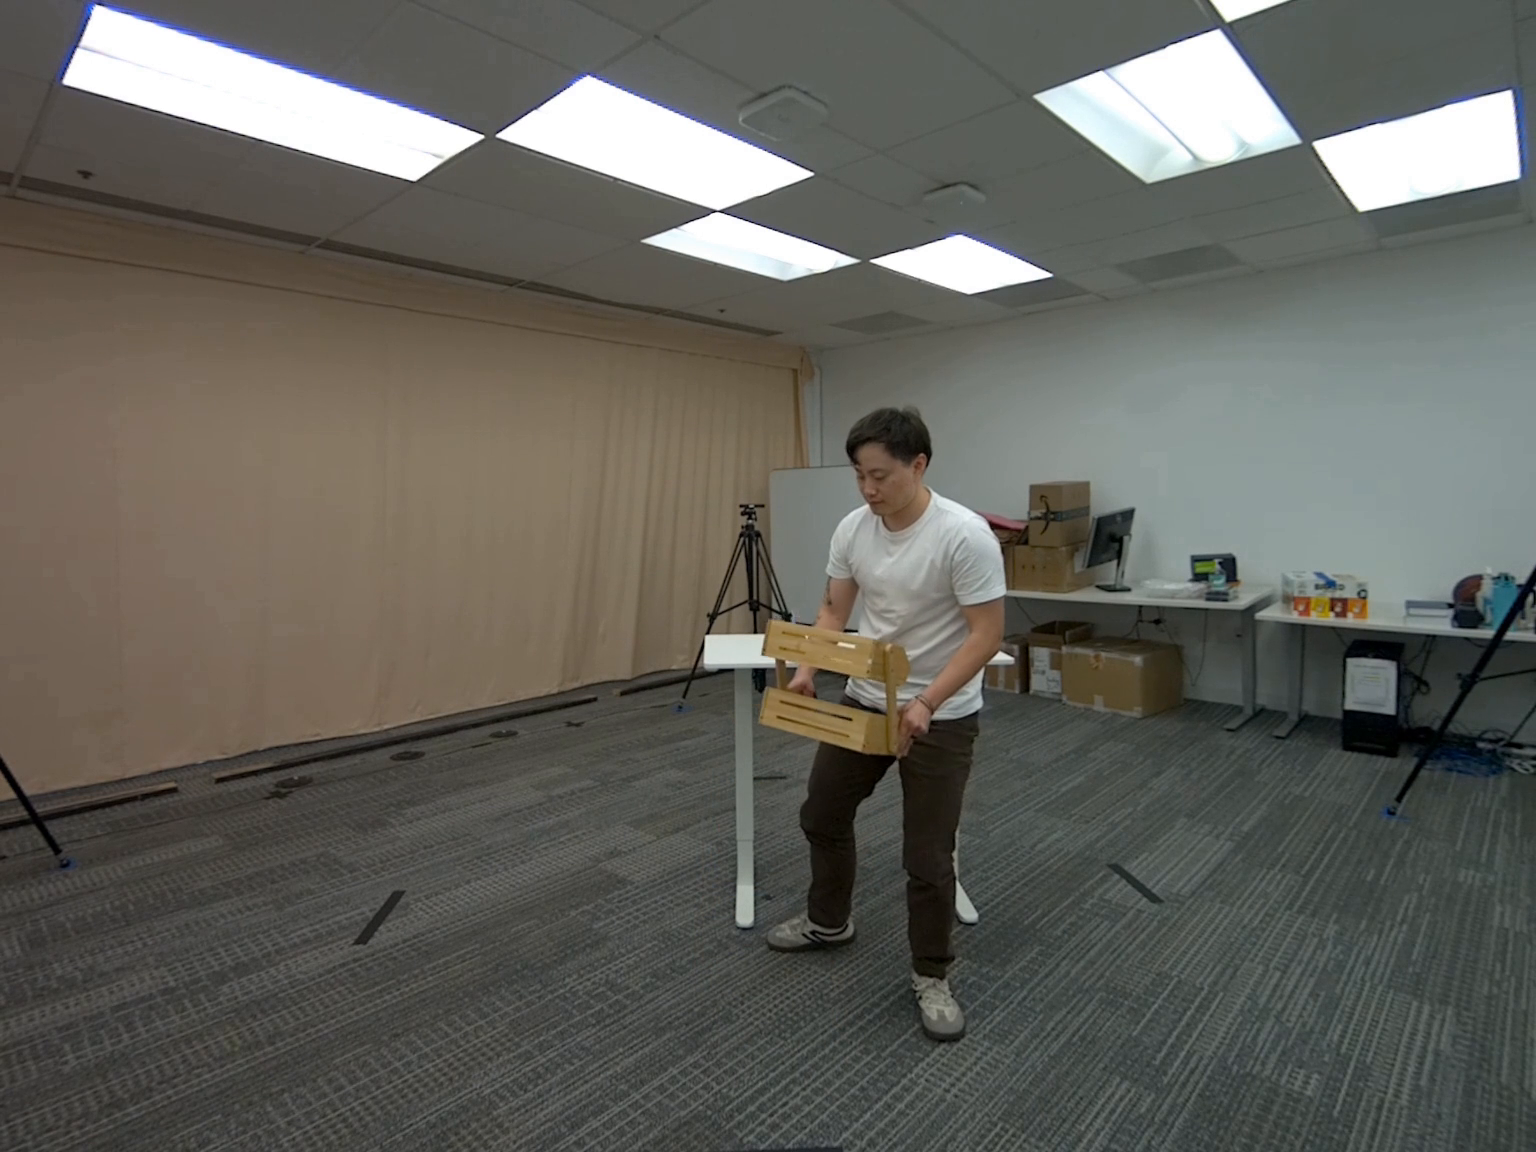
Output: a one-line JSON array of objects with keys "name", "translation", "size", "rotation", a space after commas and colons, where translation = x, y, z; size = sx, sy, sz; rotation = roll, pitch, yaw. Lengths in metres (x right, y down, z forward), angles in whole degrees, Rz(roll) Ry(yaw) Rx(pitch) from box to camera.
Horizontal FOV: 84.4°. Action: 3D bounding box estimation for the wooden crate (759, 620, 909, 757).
[{"name": "wooden crate", "translation": [0.176, 0.282, 2.110], "size": [0.335, 0.274, 0.291], "rotation": [8, -7, 37]}]
